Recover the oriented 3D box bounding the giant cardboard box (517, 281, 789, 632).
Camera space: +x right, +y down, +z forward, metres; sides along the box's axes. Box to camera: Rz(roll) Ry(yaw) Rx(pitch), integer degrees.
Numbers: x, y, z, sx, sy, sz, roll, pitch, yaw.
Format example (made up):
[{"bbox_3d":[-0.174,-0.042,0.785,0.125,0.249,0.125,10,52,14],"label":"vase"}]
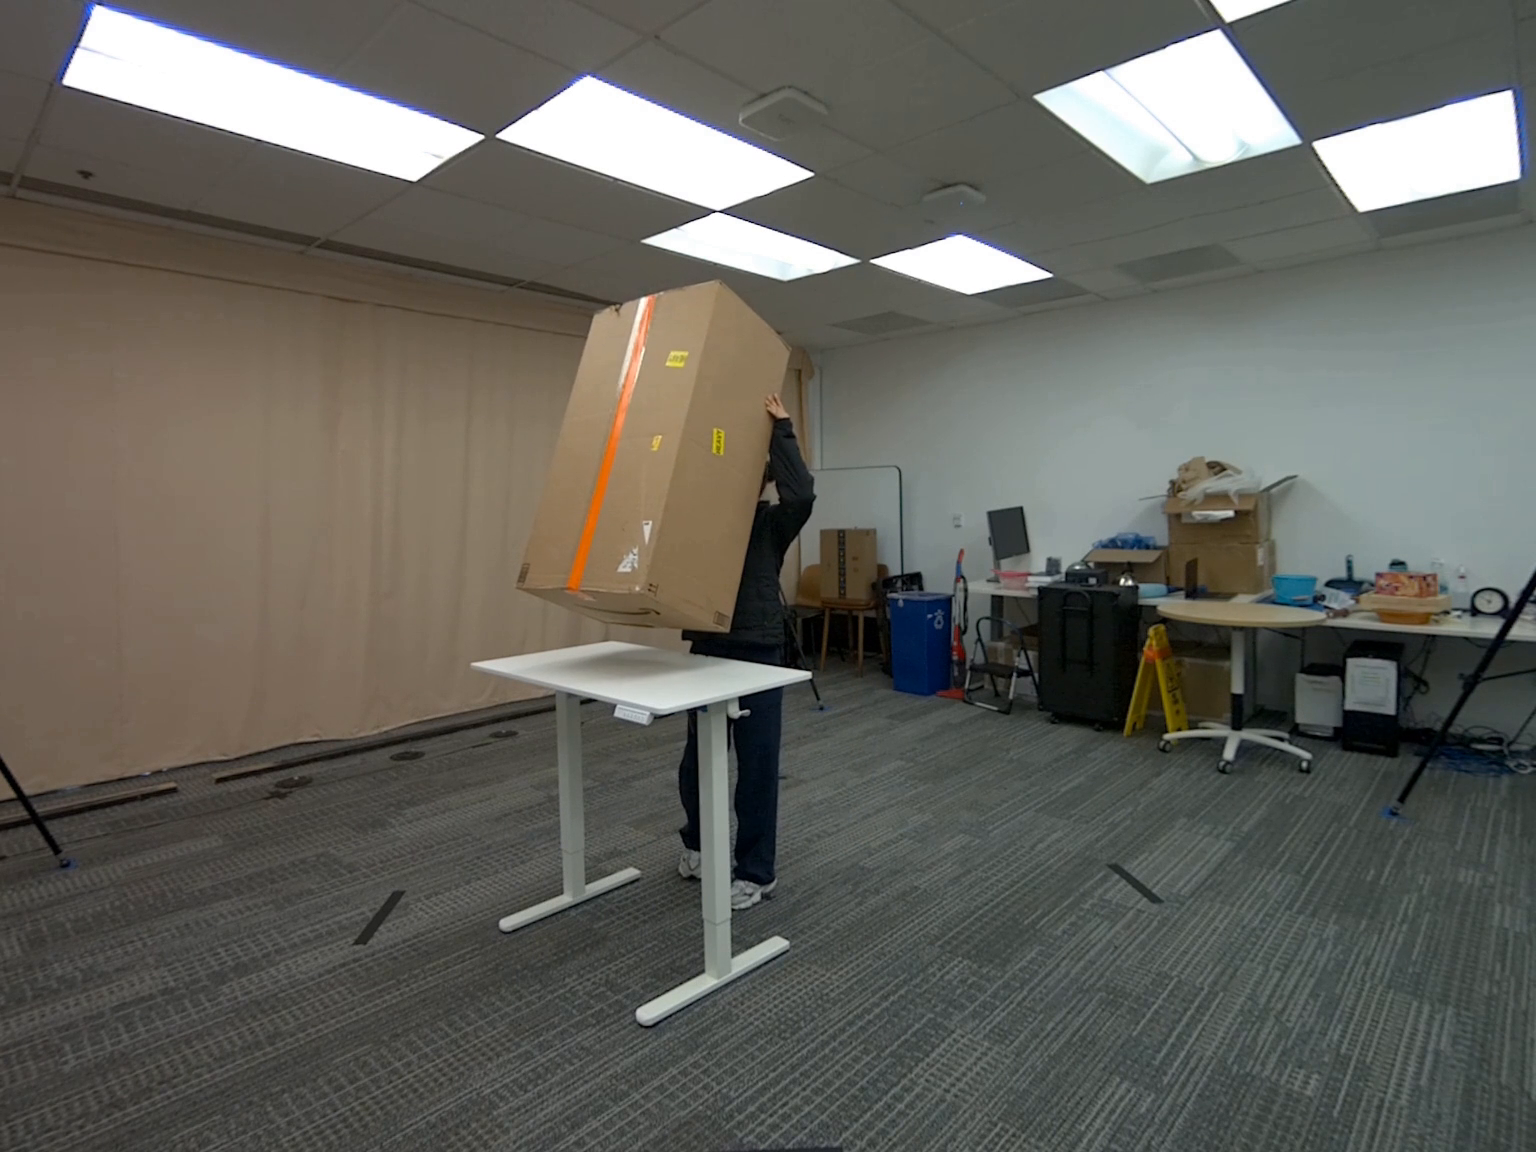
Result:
[{"bbox_3d":[-0.354,-0.371,2.809,0.602,1.033,0.430,-1,-18,39],"label":"giant cardboard box"}]
